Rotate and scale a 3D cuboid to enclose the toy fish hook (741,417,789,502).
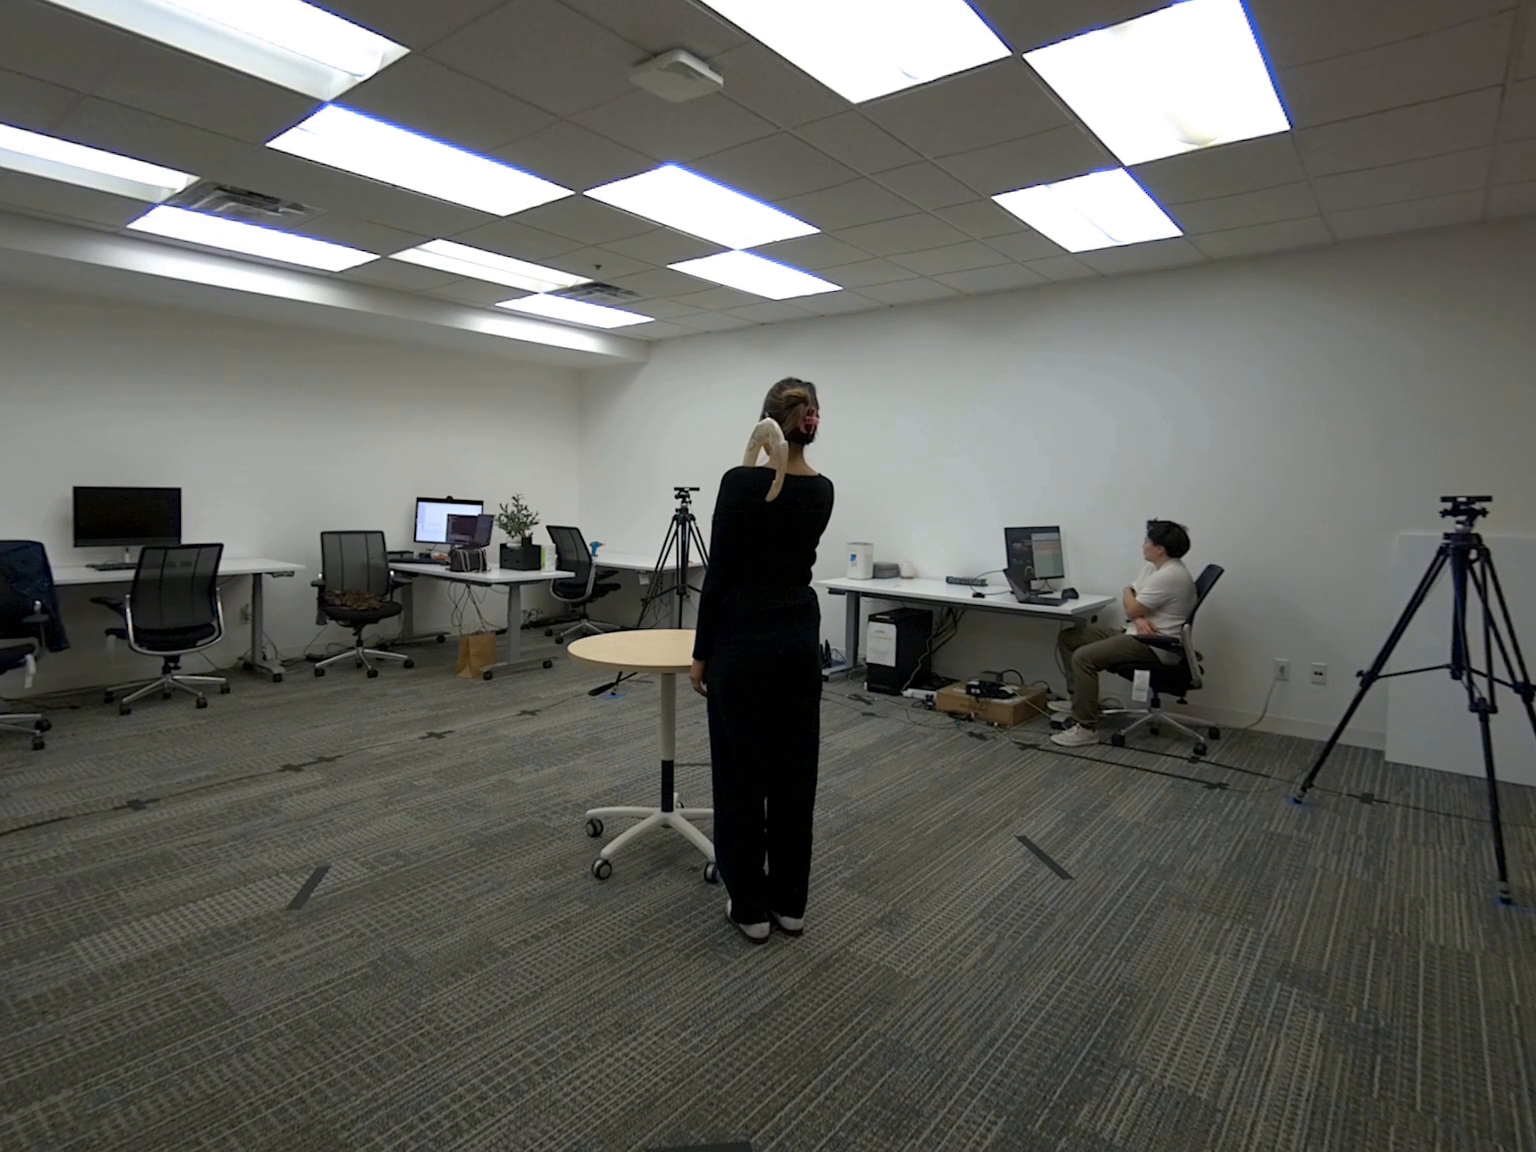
[{"bbox_3d":[-0.057,-0.260,2.597,0.047,0.233,0.500,0,-39,-25],"label":"toy fish hook"}]
